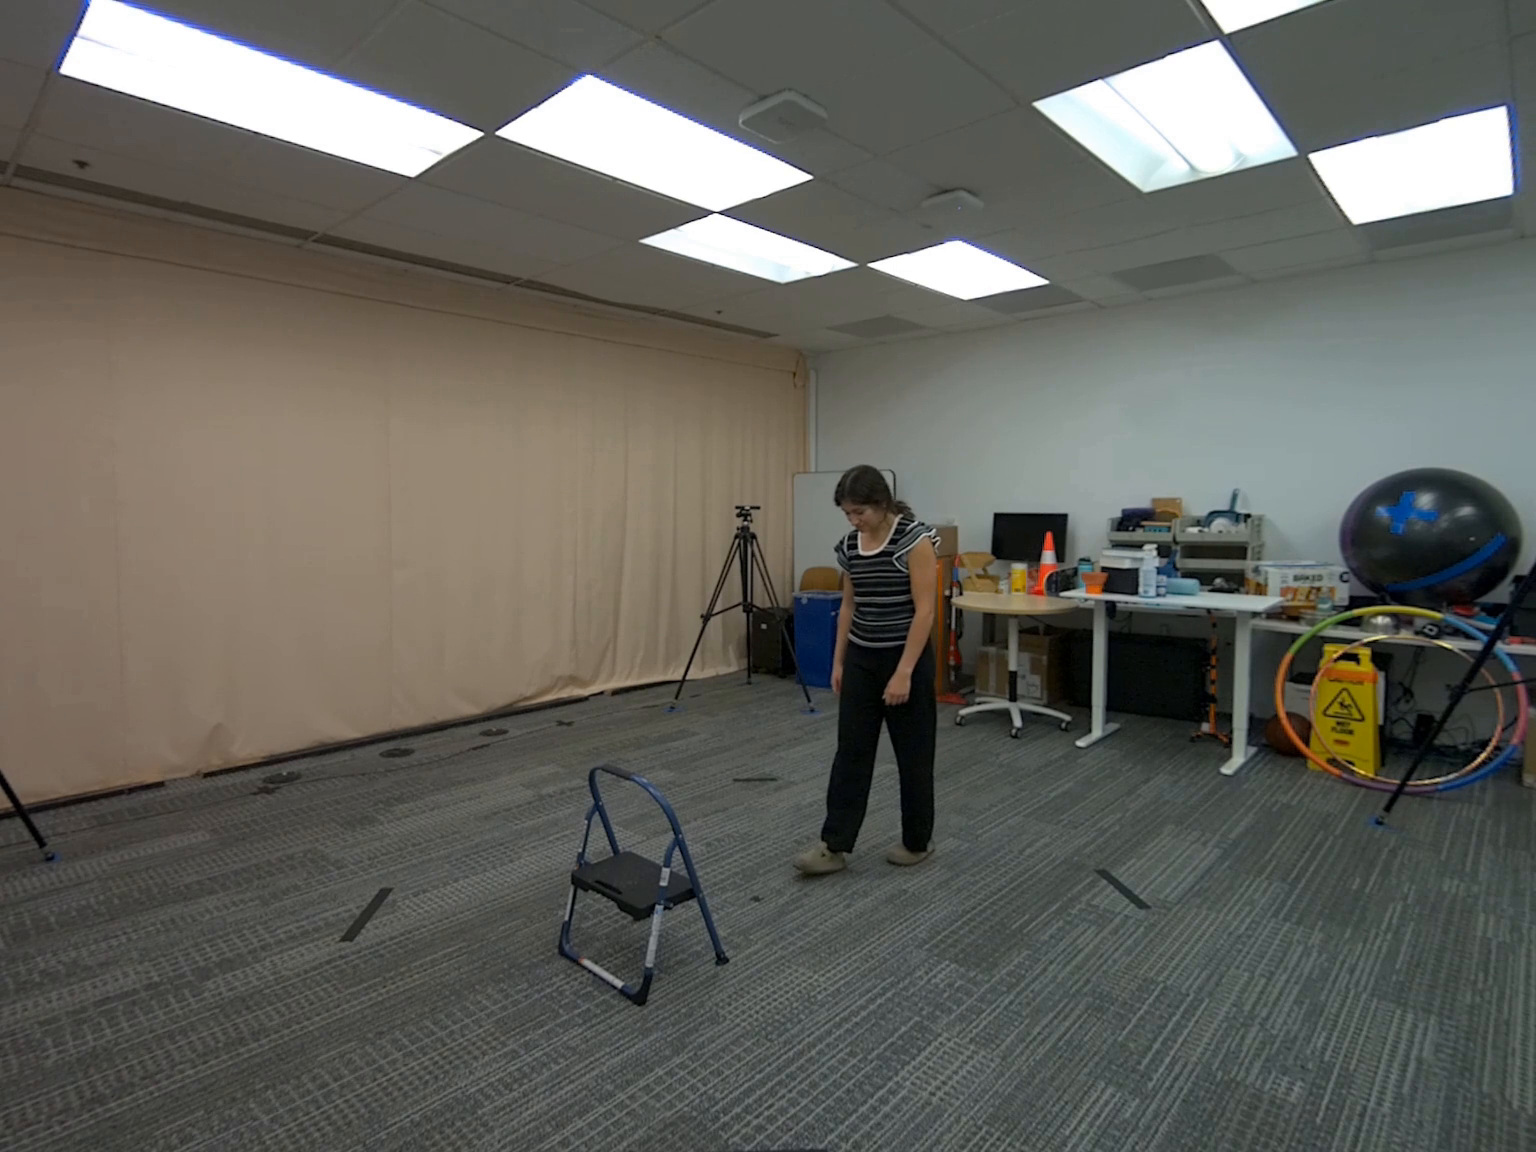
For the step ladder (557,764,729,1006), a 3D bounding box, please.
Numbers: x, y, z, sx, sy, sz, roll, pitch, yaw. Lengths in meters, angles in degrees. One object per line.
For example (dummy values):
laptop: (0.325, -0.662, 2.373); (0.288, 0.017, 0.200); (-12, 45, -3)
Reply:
step ladder: (-0.390, 0.877, 2.589); (0.445, 0.605, 0.338); (3, 4, 43)
